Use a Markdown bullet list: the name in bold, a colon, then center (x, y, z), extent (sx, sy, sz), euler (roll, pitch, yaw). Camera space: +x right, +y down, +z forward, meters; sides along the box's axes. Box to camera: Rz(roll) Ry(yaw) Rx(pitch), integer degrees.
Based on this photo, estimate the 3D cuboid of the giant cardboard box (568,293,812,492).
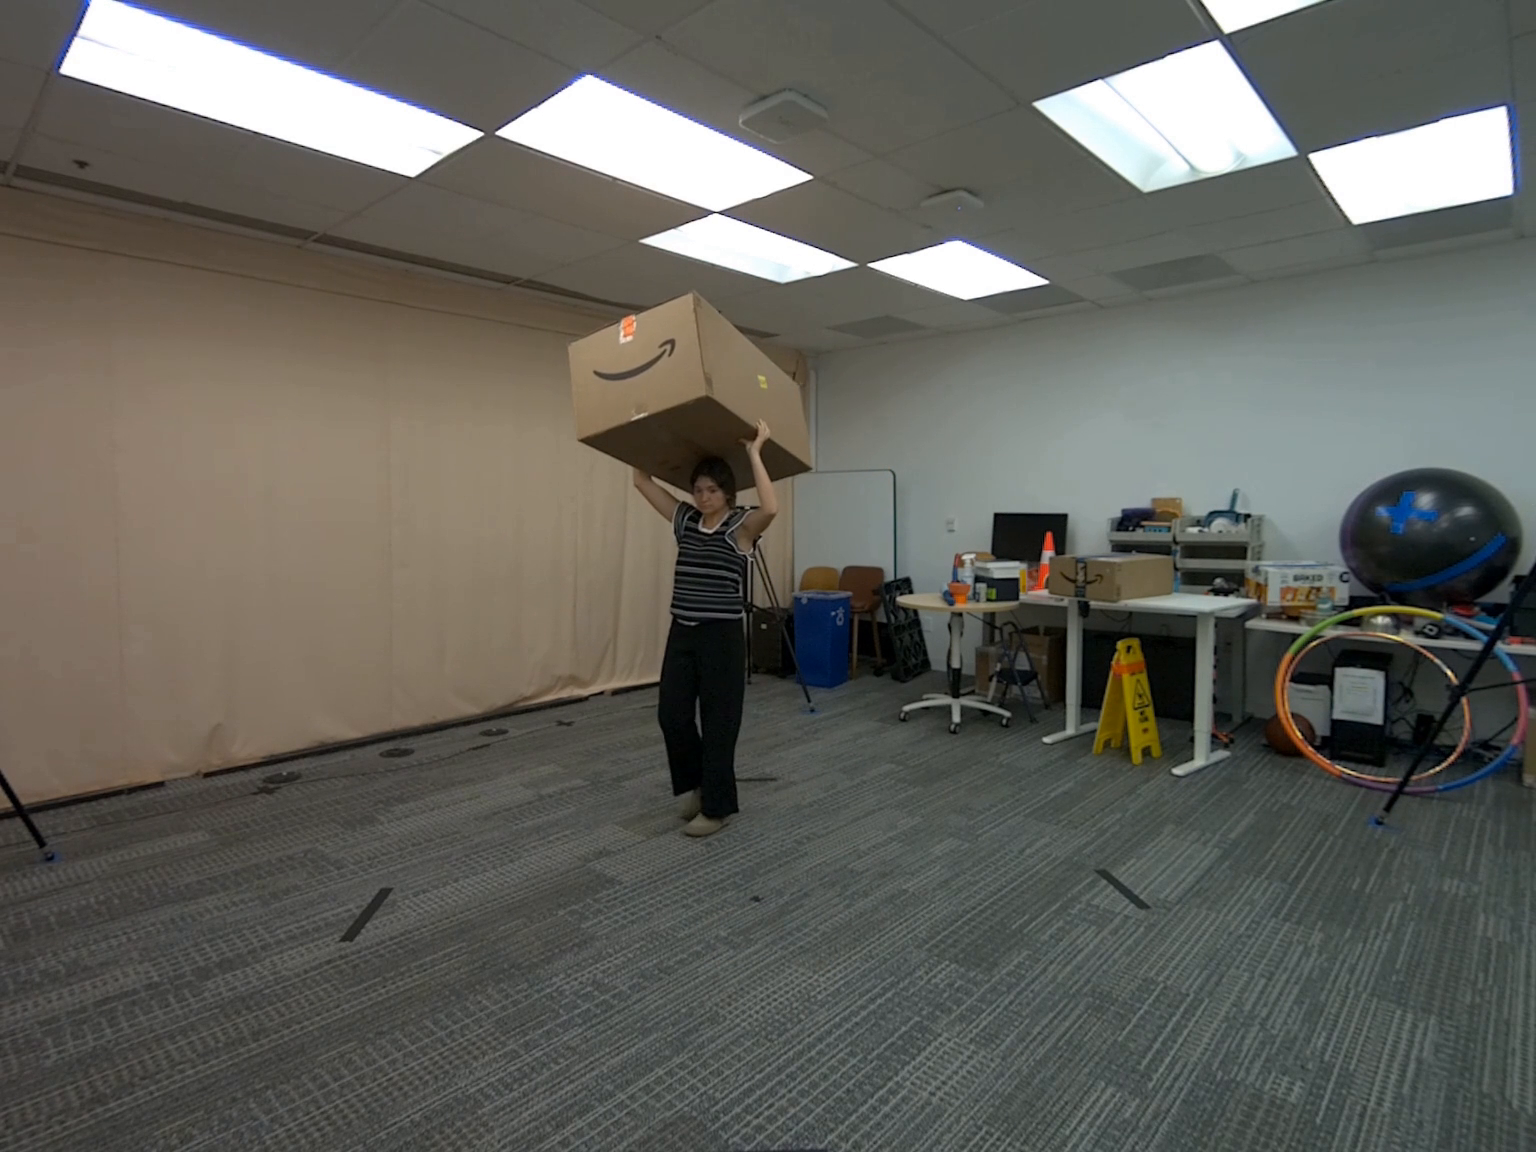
- **giant cardboard box**: center (-0.289, -0.696, 3.576), extent (0.589, 0.431, 0.994), euler (-14, -15, 23)
